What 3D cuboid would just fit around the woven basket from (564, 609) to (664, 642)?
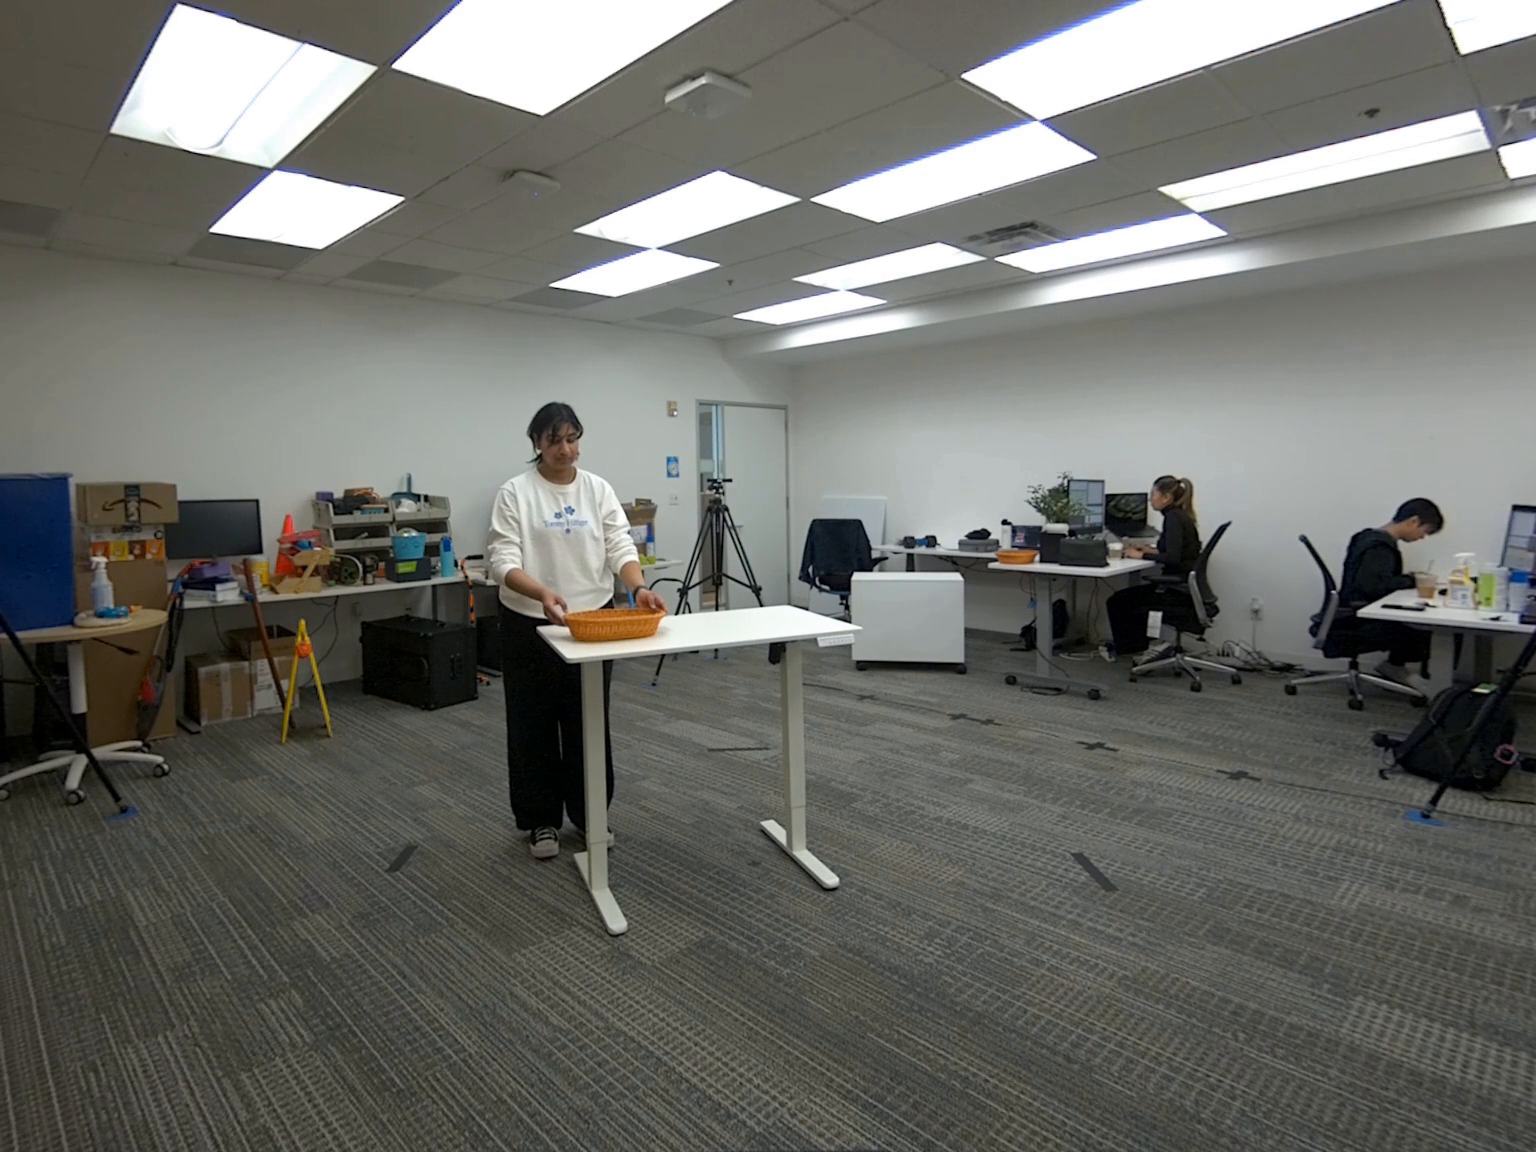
[{"bbox_3d":[-0.517,0.168,2.886,0.345,0.073,0.258,-1,7,-18],"label":"woven basket"}]
